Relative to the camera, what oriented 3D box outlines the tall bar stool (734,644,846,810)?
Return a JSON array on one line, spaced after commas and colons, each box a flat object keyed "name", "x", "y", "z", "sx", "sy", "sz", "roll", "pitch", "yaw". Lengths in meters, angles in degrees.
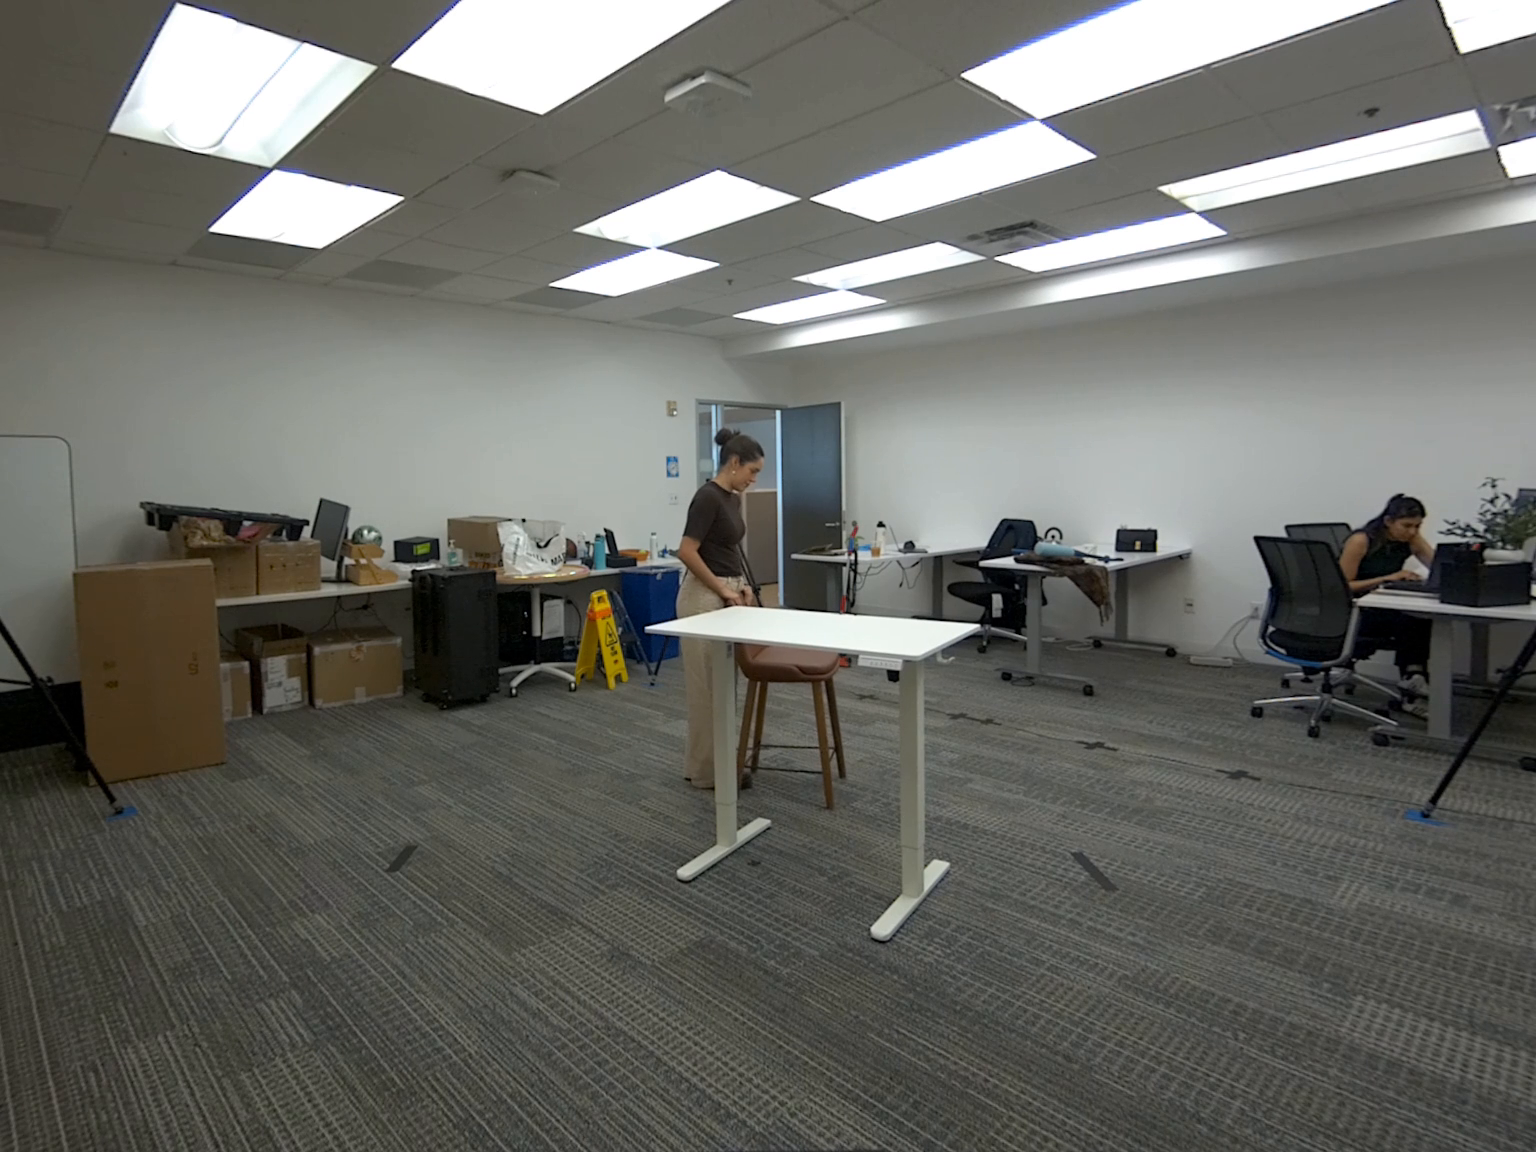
[{"name": "tall bar stool", "x": 0.085, "y": 0.524, "z": 3.832, "sx": 0.475, "sy": 0.888, "sz": 0.450, "roll": -2, "pitch": 2, "yaw": 16}]
